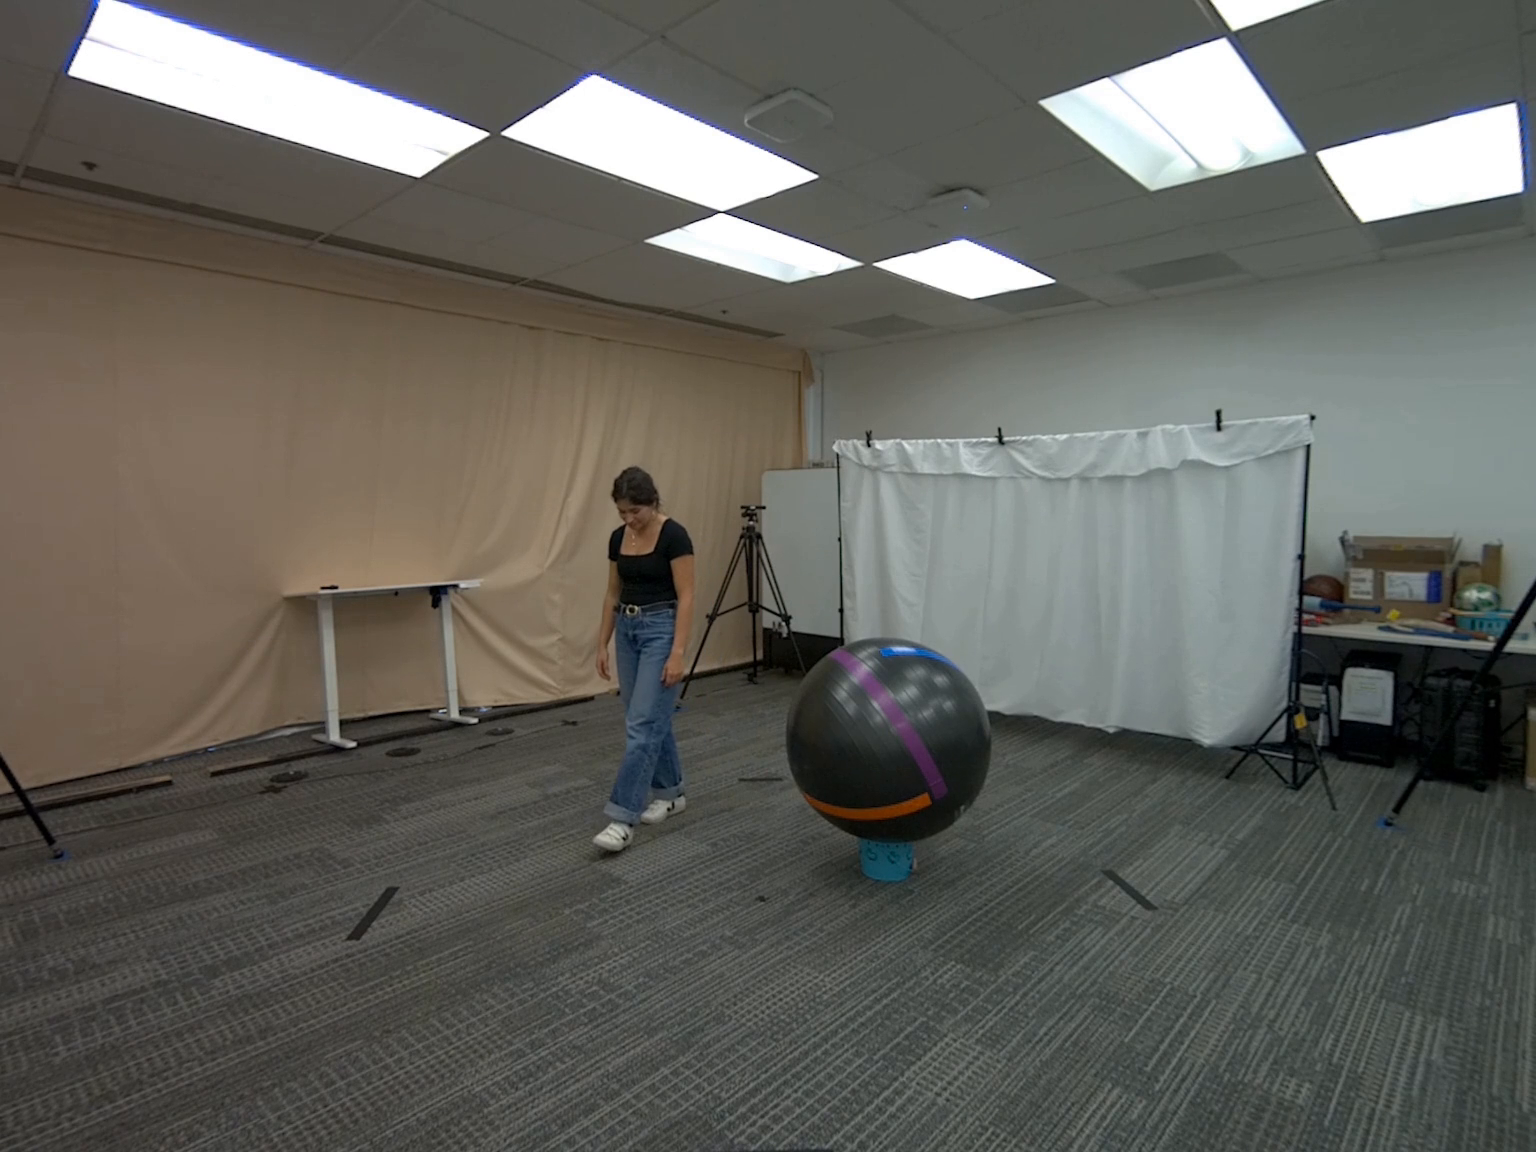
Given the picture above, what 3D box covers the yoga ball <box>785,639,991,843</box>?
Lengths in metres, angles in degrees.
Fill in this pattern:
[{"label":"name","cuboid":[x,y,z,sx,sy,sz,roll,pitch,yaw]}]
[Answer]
[{"label":"yoga ball","cuboid":[0.455,0.622,3.190,0.757,0.756,0.760,0,4,-2]}]
